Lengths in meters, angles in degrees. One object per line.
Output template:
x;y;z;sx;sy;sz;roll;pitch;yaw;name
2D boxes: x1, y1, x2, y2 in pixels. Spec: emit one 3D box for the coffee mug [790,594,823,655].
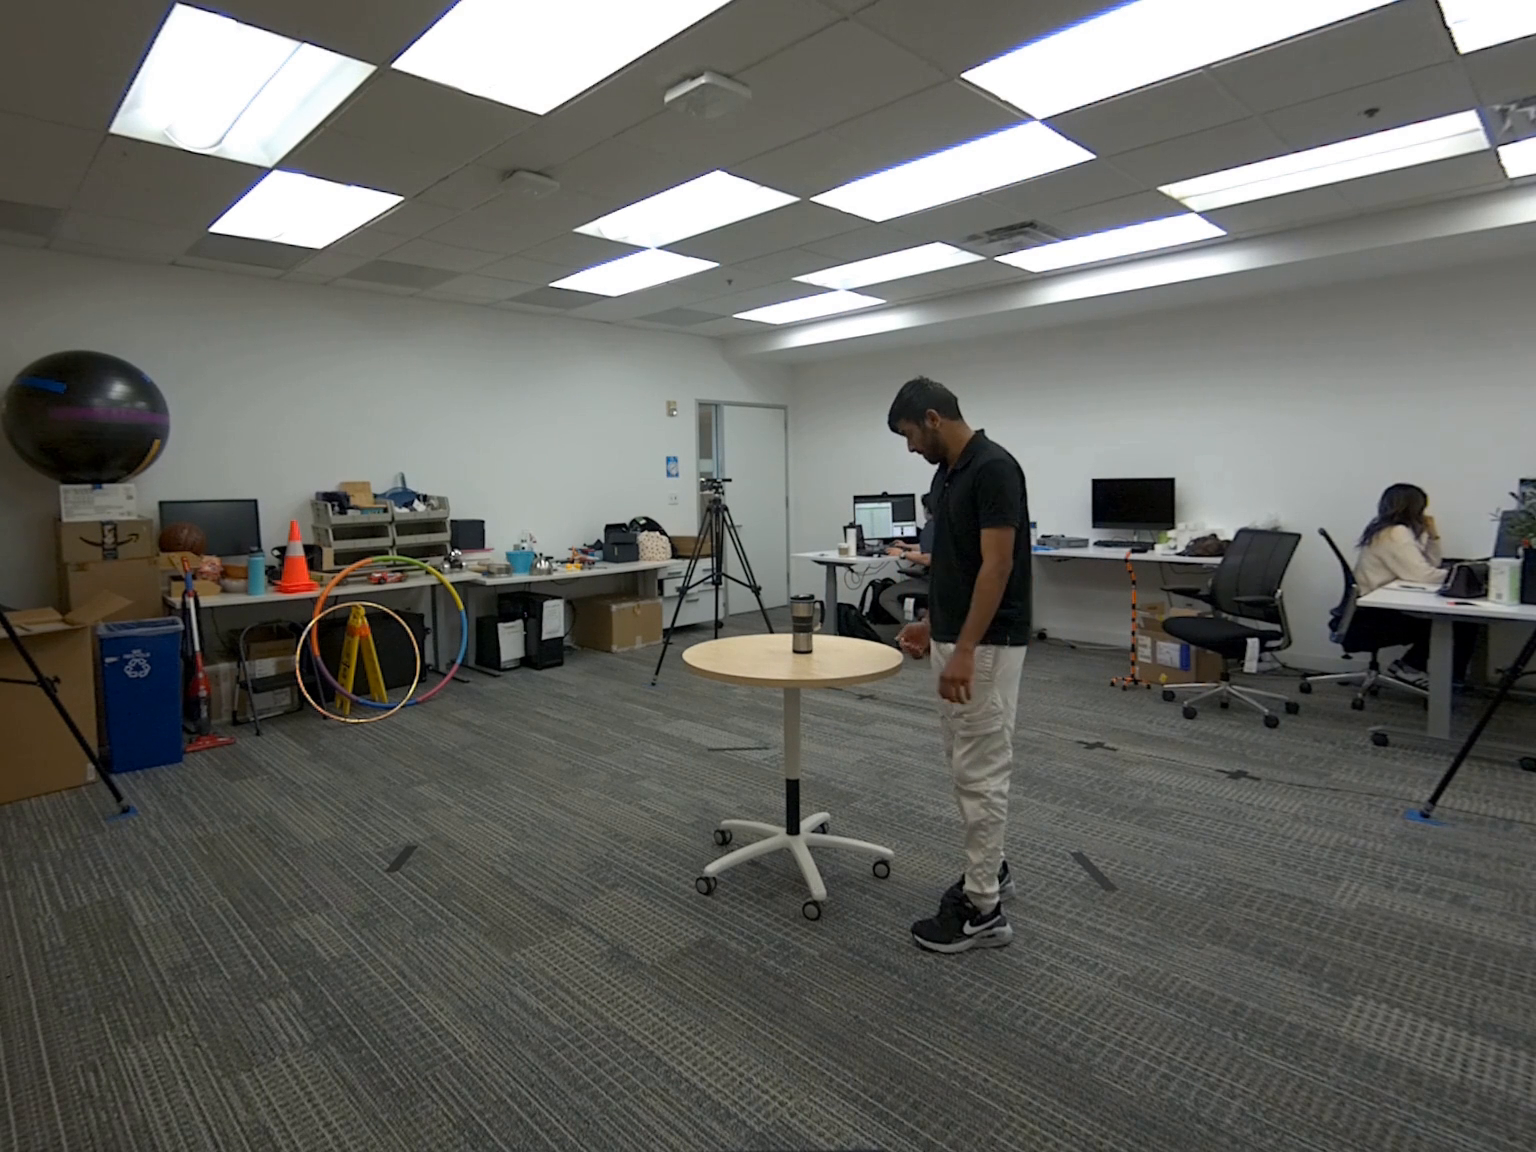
0.147;0.174;2.996;0.125;0.203;0.086;1;0;23;coffee mug
